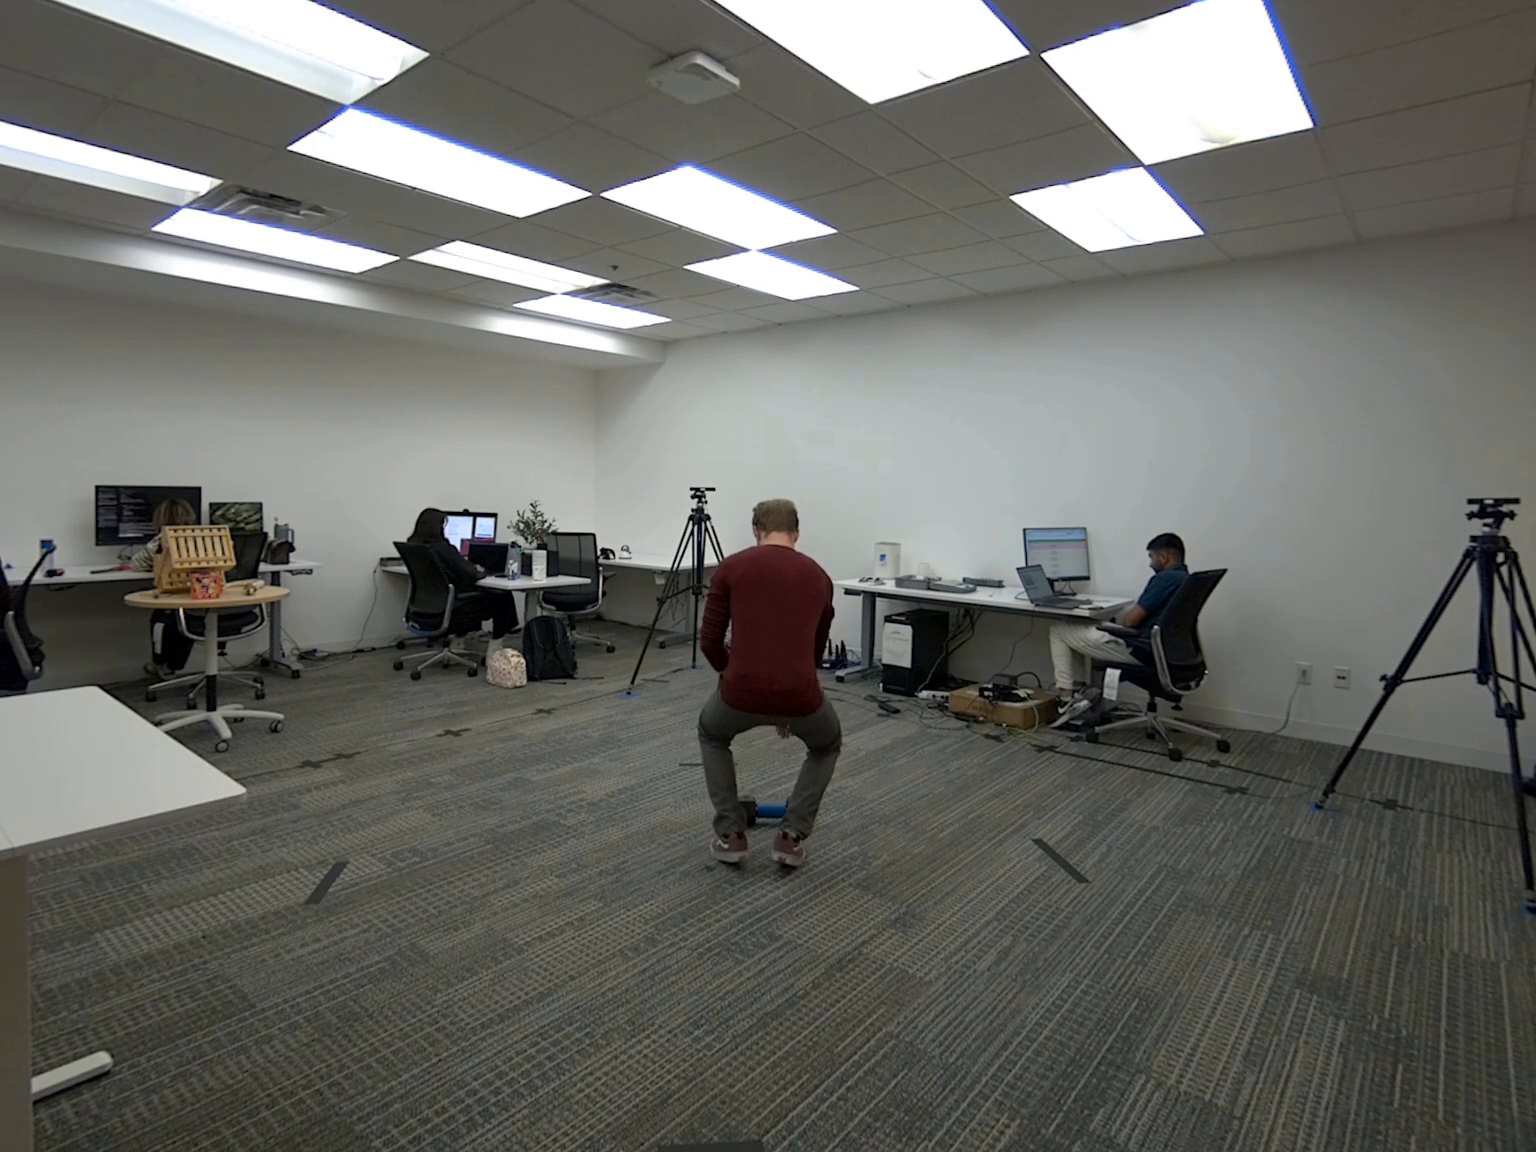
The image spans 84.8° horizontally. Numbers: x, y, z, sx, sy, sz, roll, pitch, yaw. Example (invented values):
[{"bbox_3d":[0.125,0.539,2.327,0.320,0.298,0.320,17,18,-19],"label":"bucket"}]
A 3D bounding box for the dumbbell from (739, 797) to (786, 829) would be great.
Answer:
[{"bbox_3d":[0.005,0.974,3.537,0.292,0.120,0.112,1,34,-4],"label":"dumbbell"}]
